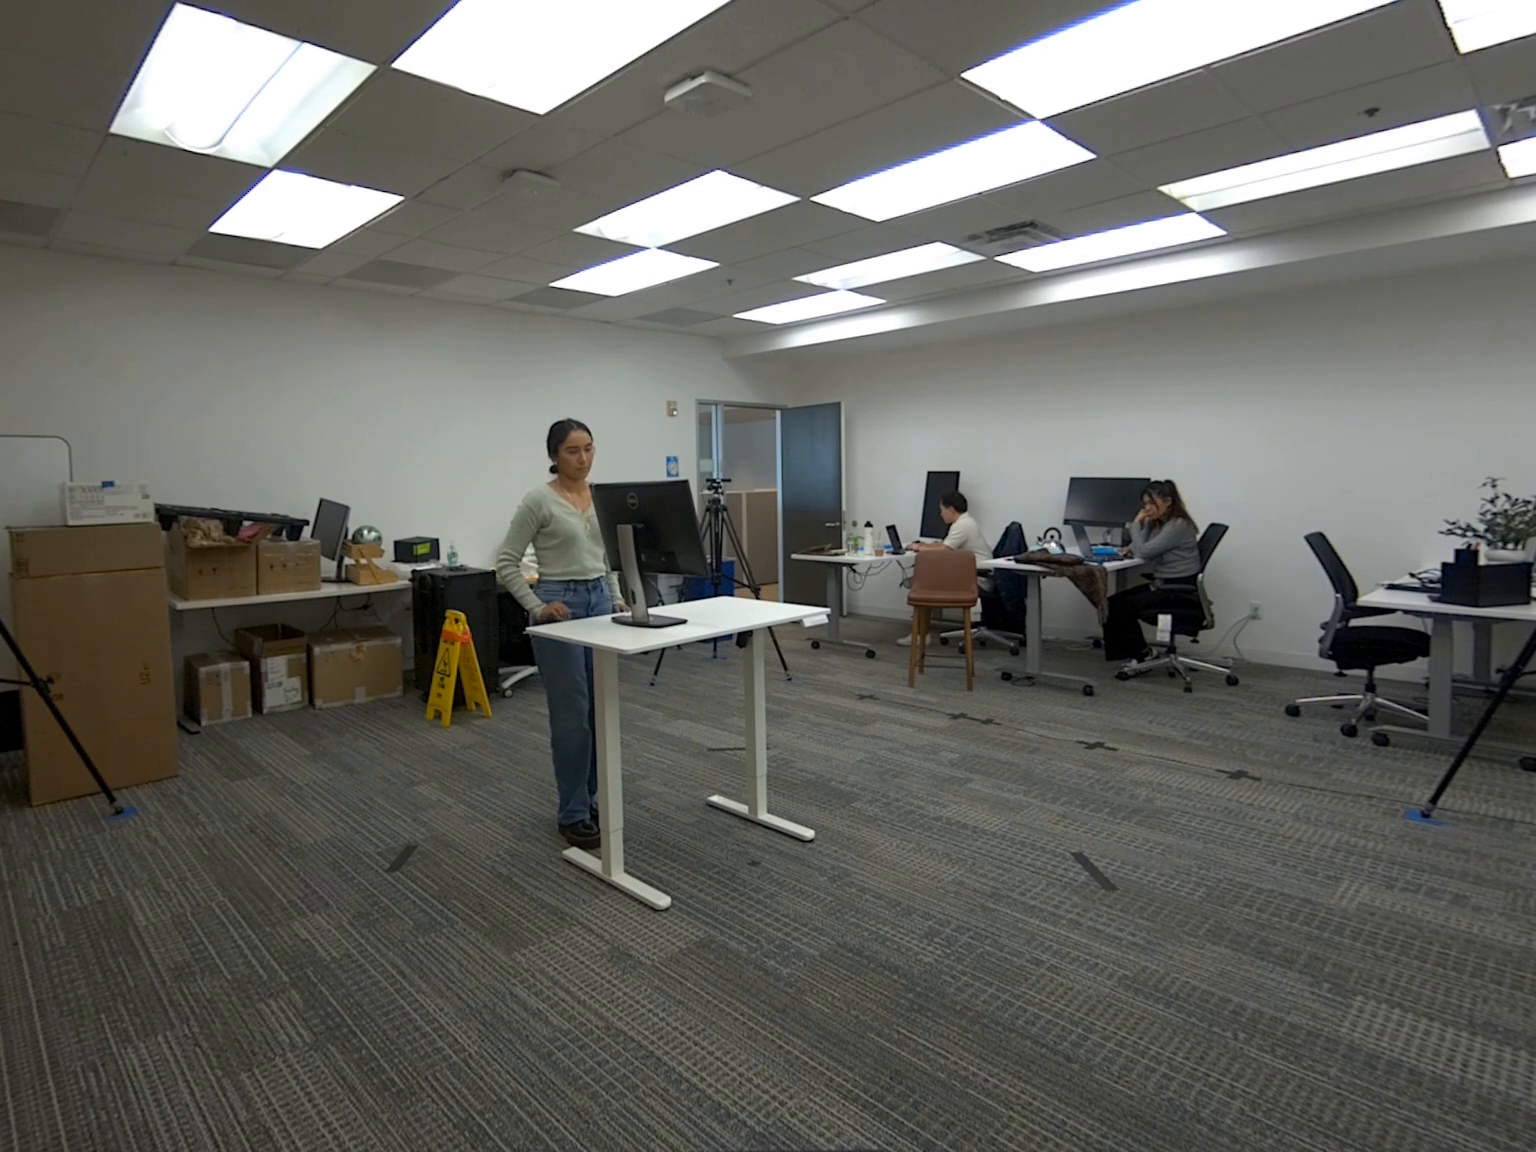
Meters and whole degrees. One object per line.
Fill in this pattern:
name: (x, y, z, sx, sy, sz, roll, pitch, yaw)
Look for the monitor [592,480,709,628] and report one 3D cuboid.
monitor: (-0.447, -0.087, 3.096, 0.545, 0.515, 0.170, 1, 2, 42)
